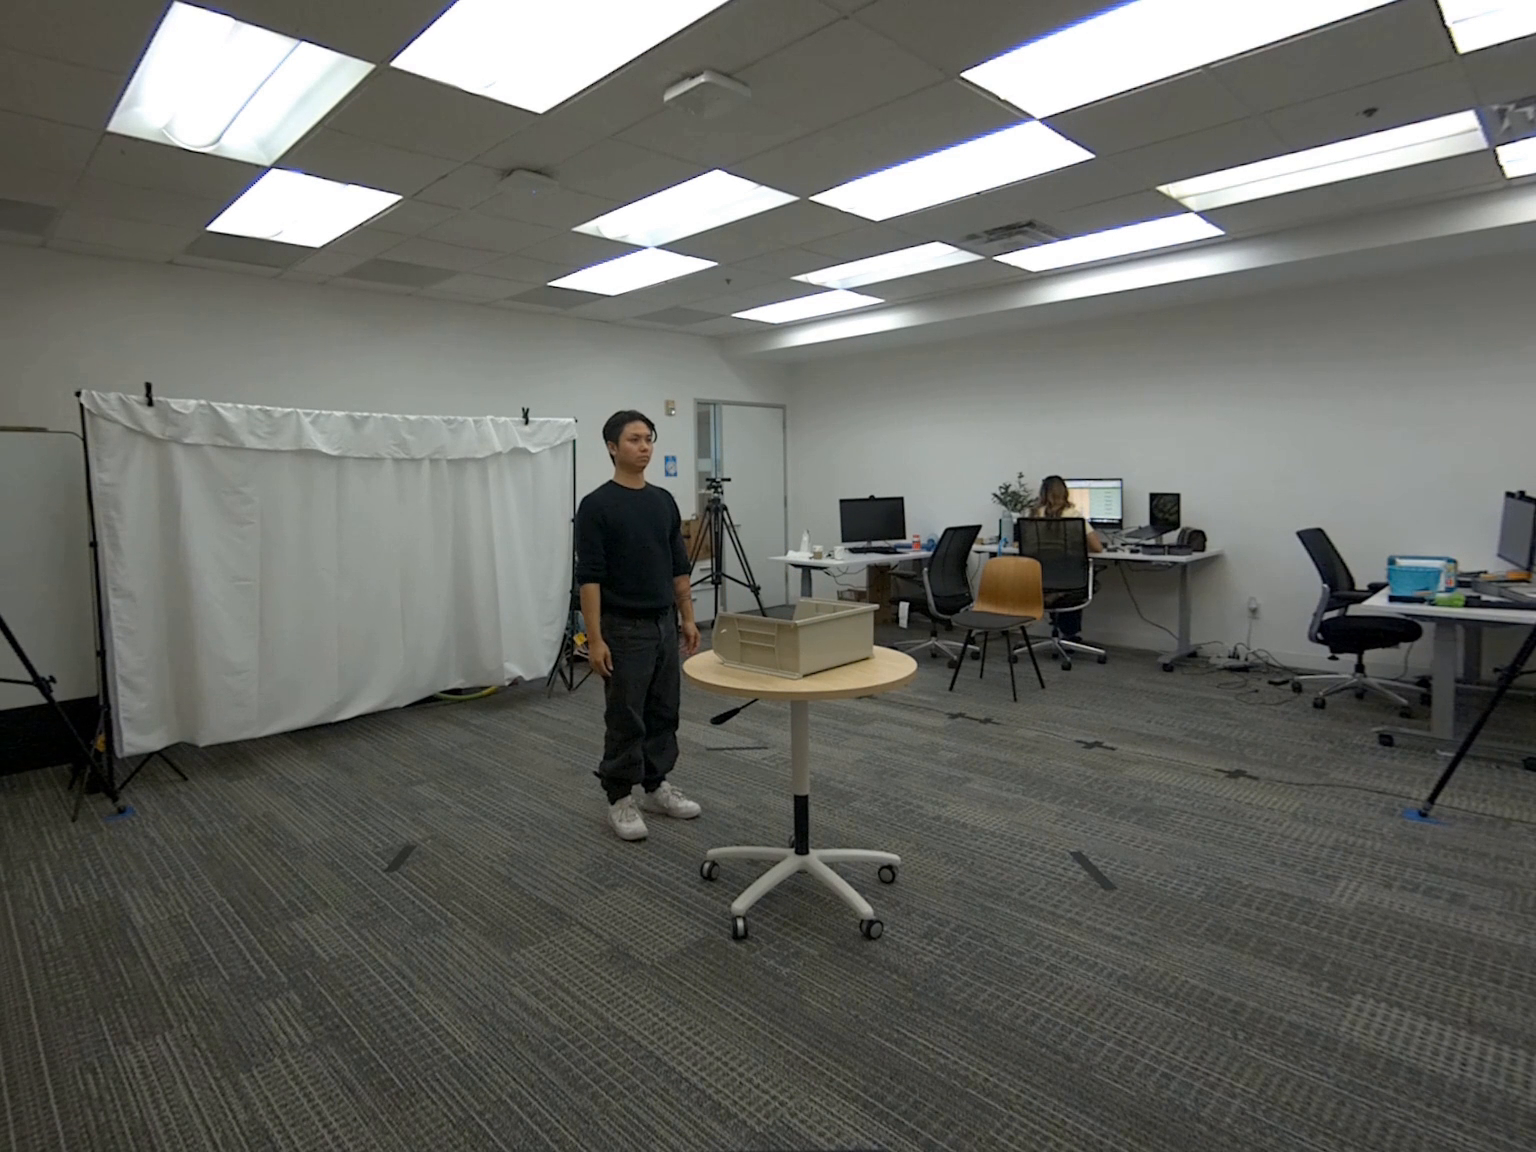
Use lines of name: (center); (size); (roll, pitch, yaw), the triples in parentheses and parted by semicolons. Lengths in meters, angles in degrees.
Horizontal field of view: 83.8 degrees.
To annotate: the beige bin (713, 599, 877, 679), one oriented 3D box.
beige bin: (0.090, 0.196, 2.843); (0.389, 0.188, 0.411); (6, 9, 44)
